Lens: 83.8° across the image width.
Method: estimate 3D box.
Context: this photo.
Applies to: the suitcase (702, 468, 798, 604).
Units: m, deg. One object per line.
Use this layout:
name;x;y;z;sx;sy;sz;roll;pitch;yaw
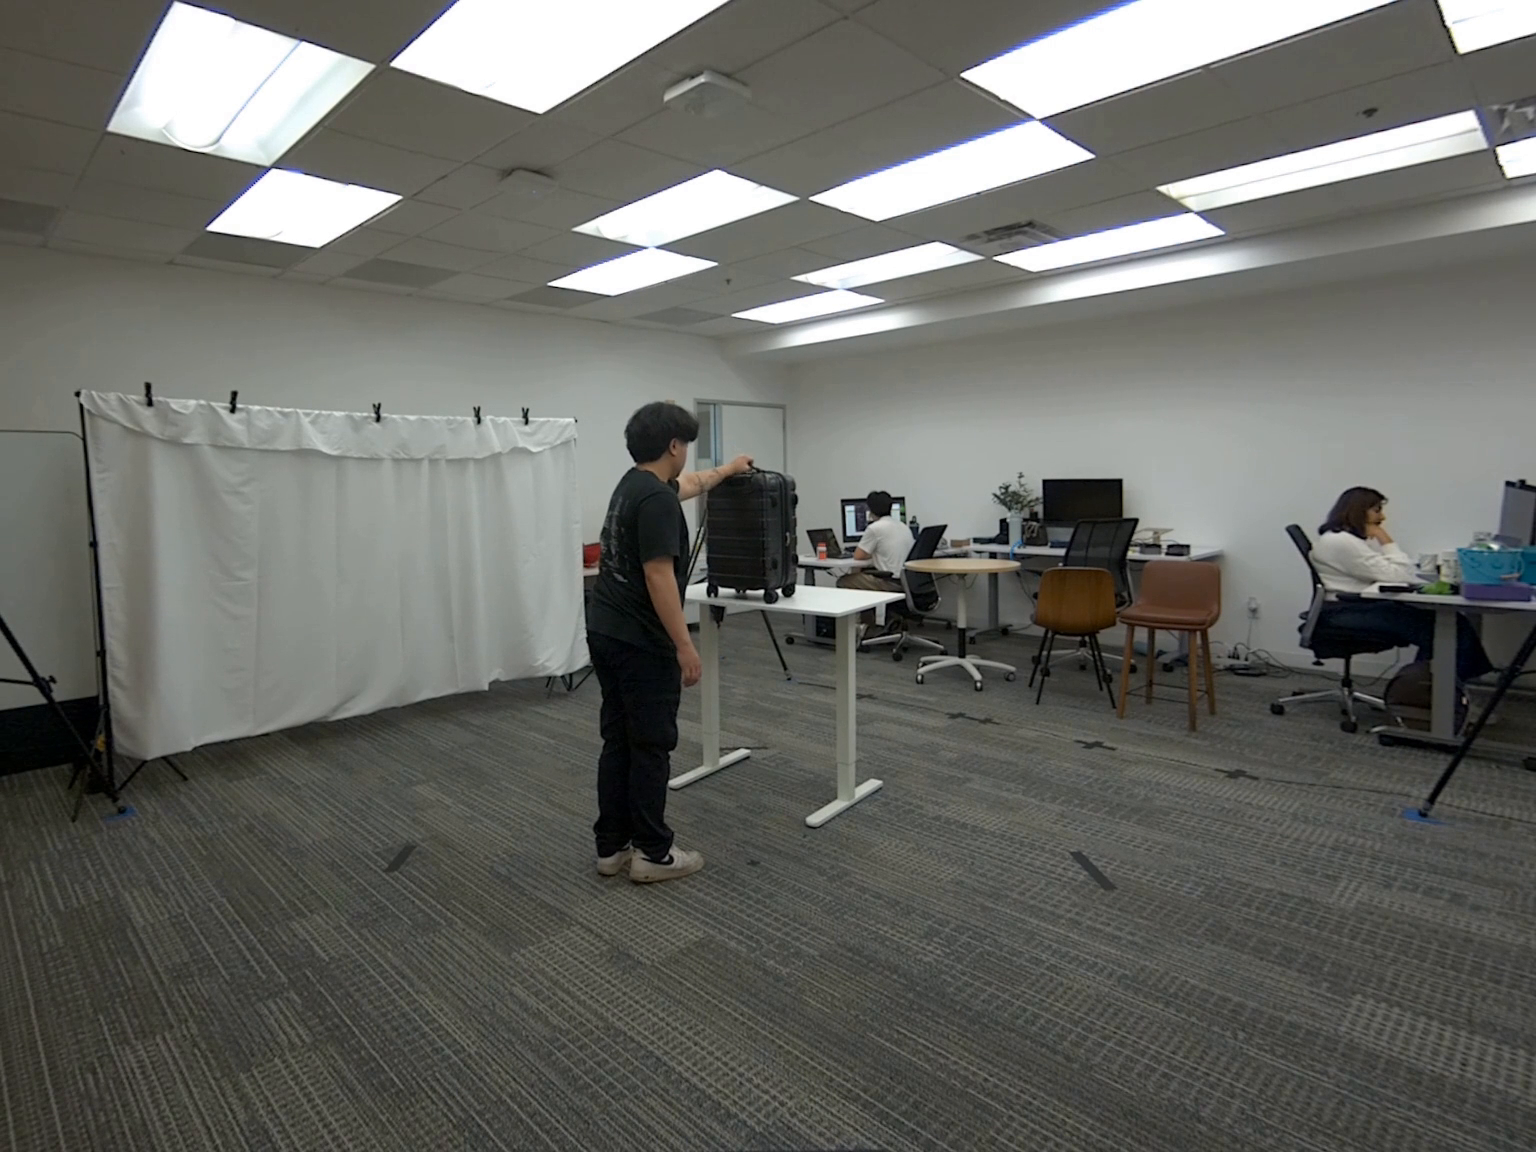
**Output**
suitcase;-0.070;-0.181;3.693;0.386;0.548;0.242;3;4;37
